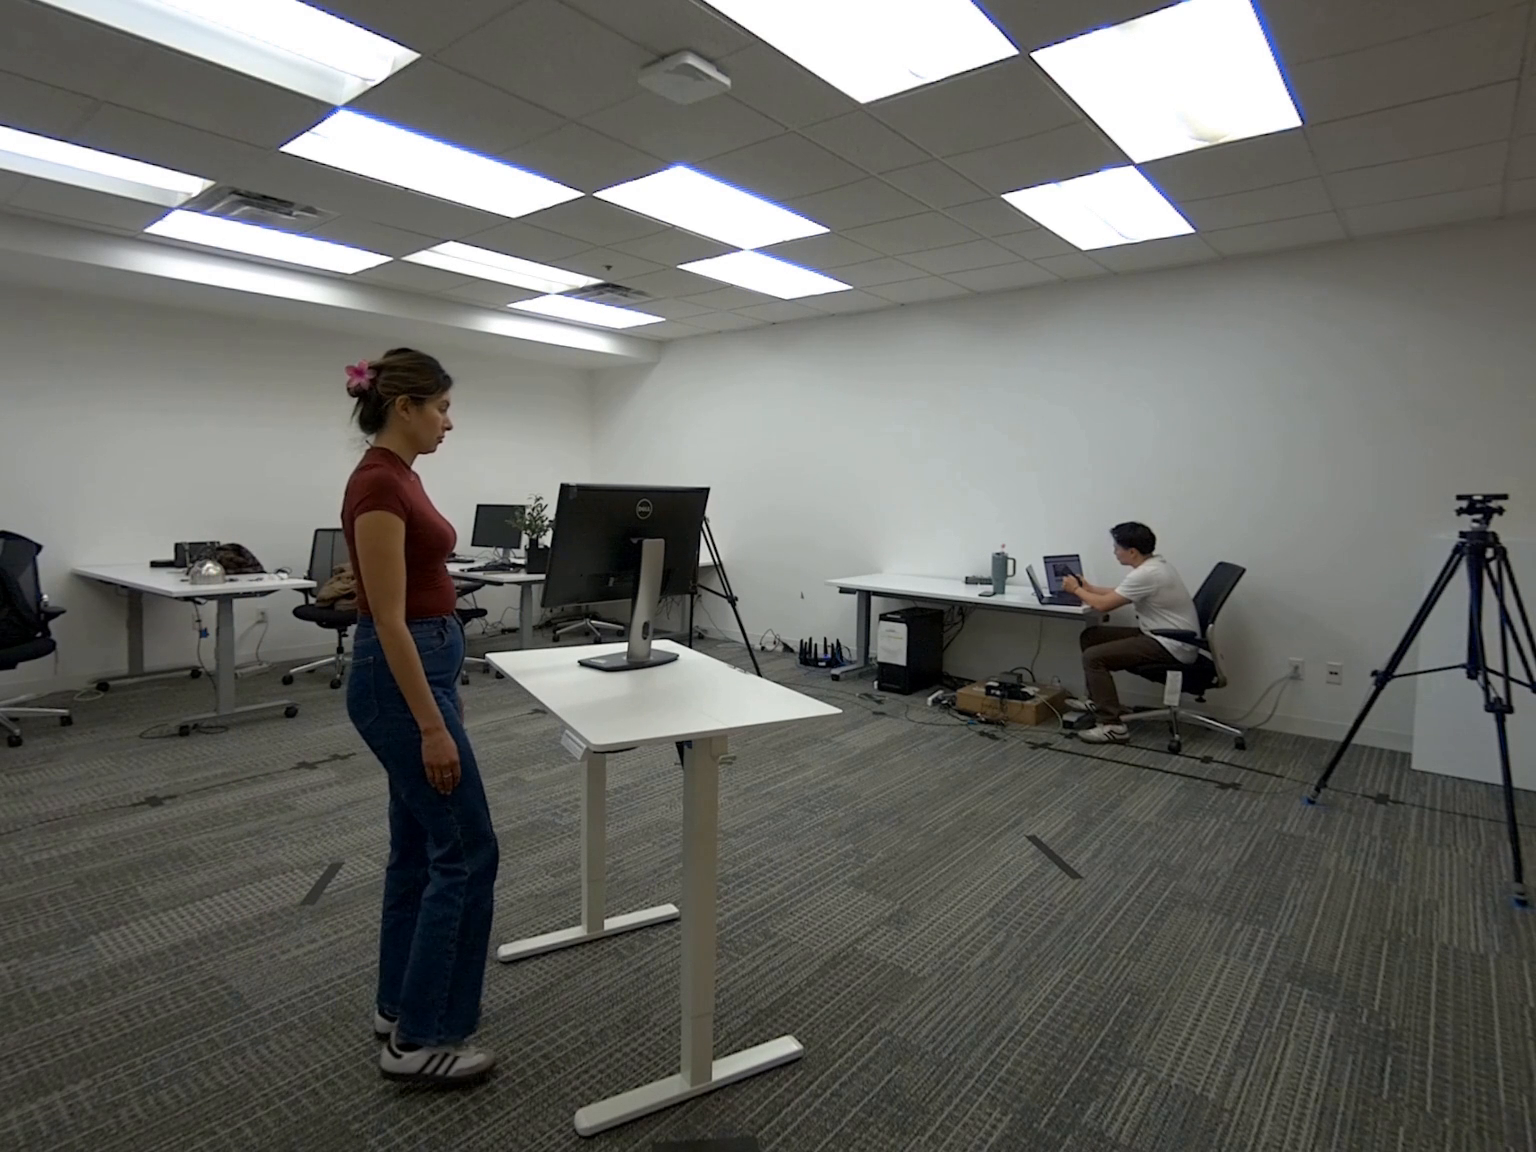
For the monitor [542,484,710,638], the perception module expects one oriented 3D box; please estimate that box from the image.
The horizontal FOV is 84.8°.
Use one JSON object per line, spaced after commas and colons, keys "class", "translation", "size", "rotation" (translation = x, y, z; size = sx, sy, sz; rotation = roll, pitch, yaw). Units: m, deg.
{"class": "monitor", "translation": [-0.395, -0.002, 2.440], "size": [0.194, 0.520, 0.523], "rotation": [6, 7, 42]}
